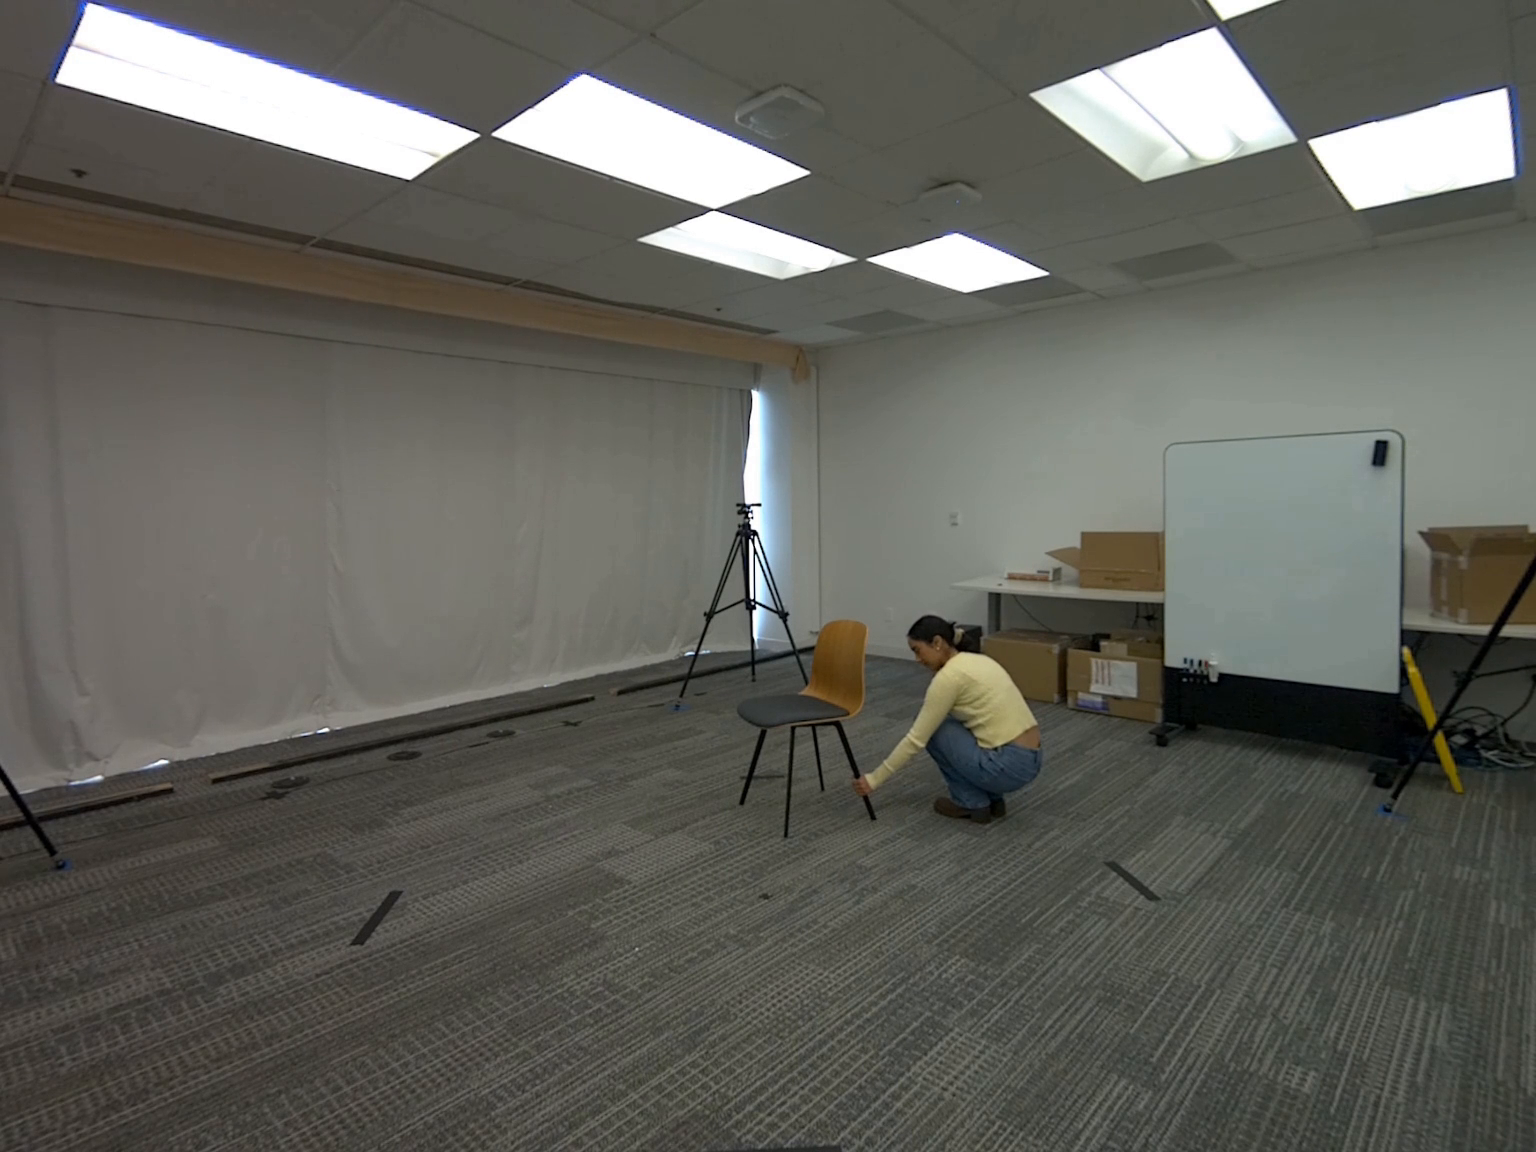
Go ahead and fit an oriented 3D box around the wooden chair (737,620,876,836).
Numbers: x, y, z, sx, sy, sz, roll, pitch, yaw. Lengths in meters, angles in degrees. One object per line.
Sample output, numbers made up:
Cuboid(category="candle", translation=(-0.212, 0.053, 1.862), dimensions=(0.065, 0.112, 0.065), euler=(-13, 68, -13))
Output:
Cuboid(category="wooden chair", translation=(0.158, 0.639, 3.751), dimensions=(0.510, 0.876, 0.491), euler=(2, 2, -26))
